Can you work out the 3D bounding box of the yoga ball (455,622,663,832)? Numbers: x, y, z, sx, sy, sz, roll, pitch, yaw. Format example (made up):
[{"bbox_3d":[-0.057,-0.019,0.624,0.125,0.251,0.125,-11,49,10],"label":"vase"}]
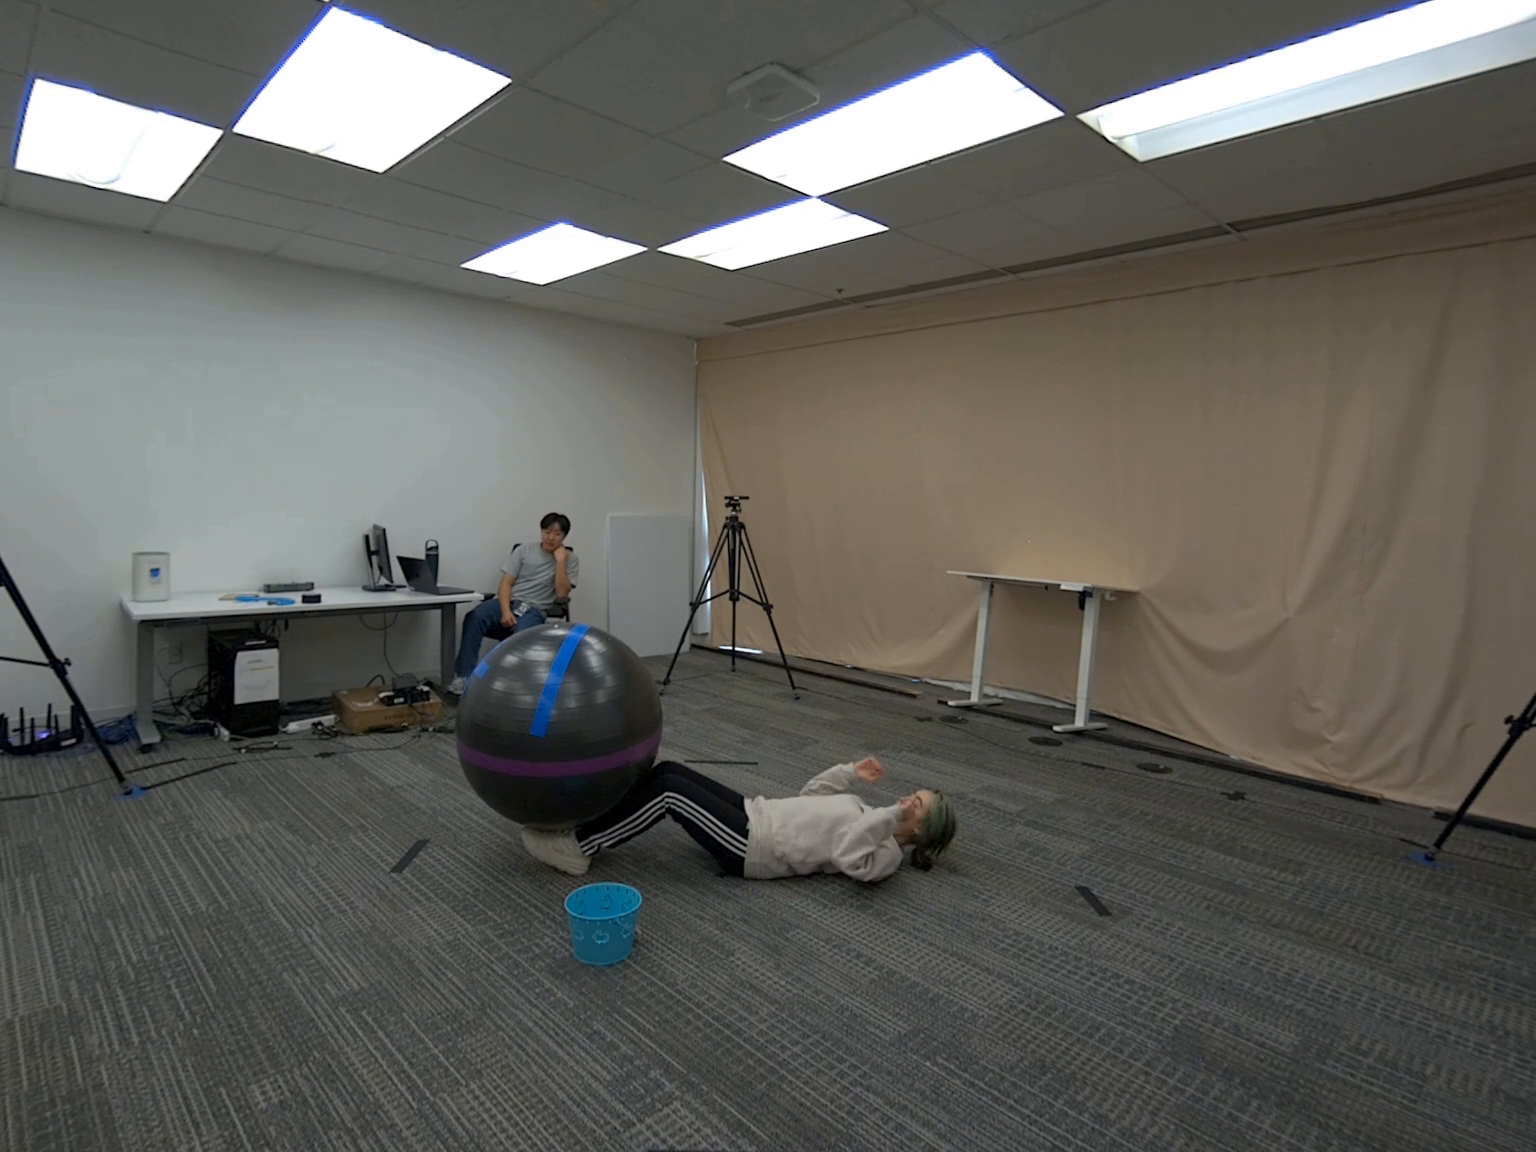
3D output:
[{"bbox_3d":[-0.782,0.555,3.154,0.757,0.756,0.761,1,4,-1],"label":"yoga ball"}]
